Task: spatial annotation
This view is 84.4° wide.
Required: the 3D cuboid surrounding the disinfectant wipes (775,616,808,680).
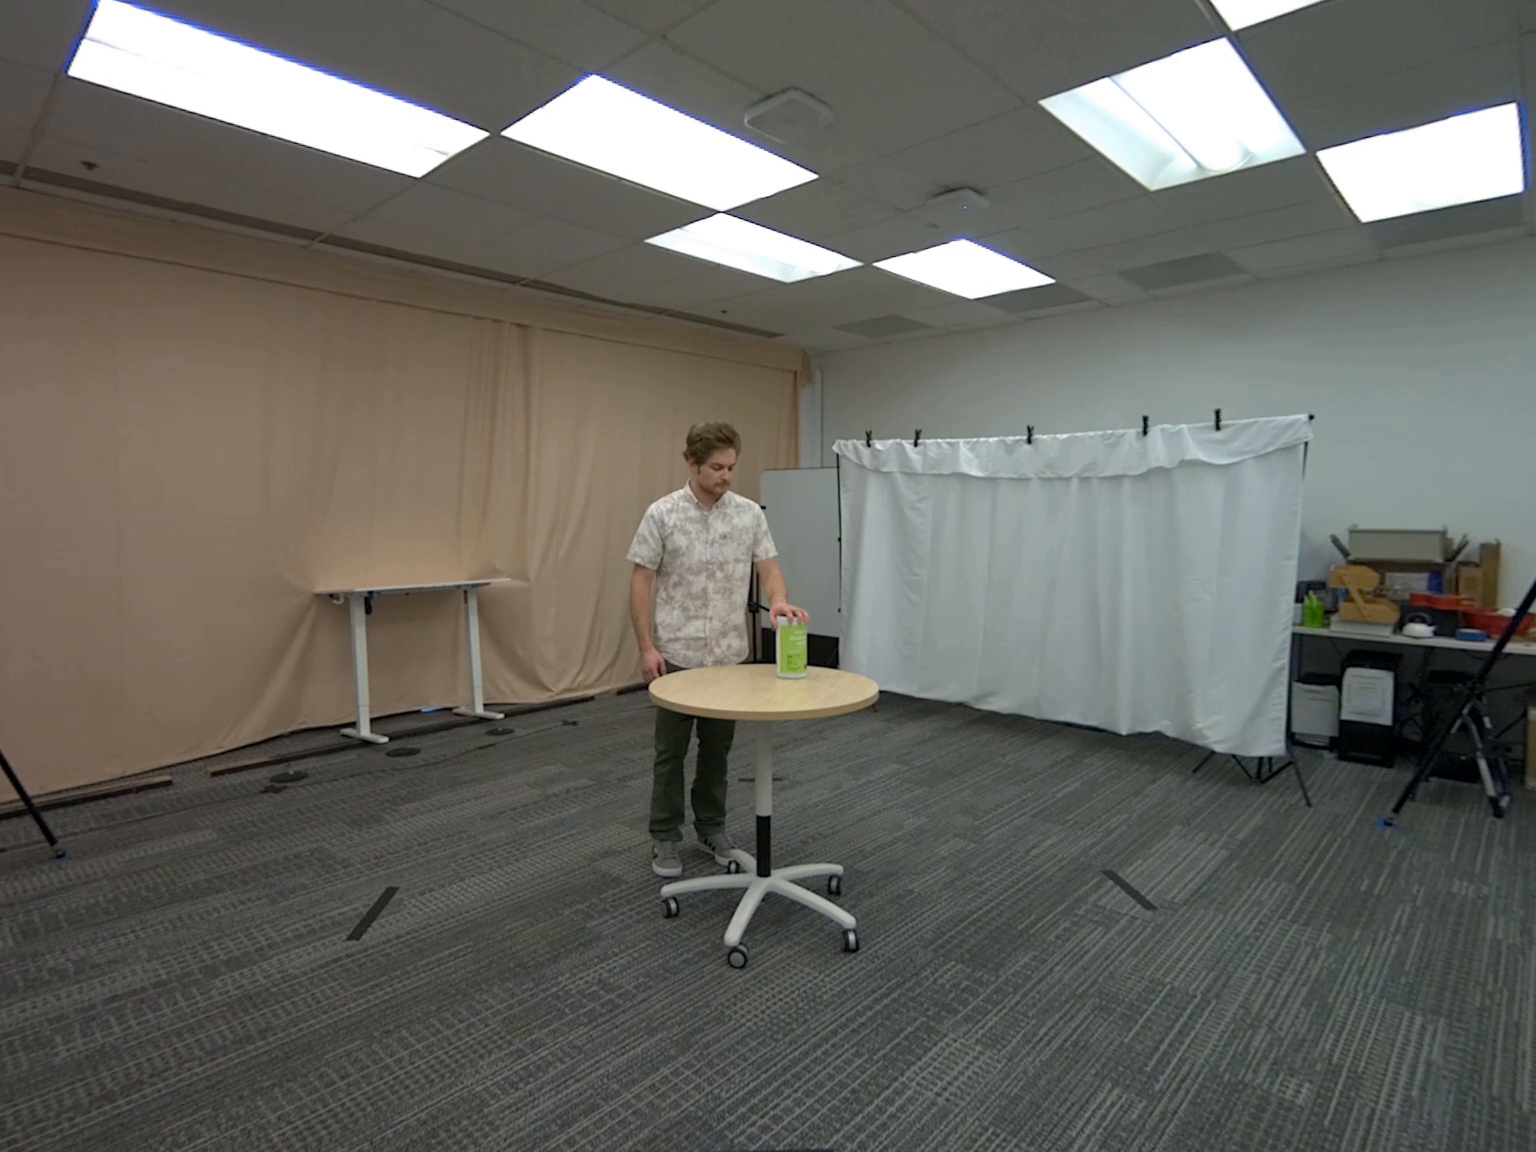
[{"bbox_3d":[0.085,0.247,2.967,0.118,0.217,0.118,1,2,-2],"label":"disinfectant wipes"}]
